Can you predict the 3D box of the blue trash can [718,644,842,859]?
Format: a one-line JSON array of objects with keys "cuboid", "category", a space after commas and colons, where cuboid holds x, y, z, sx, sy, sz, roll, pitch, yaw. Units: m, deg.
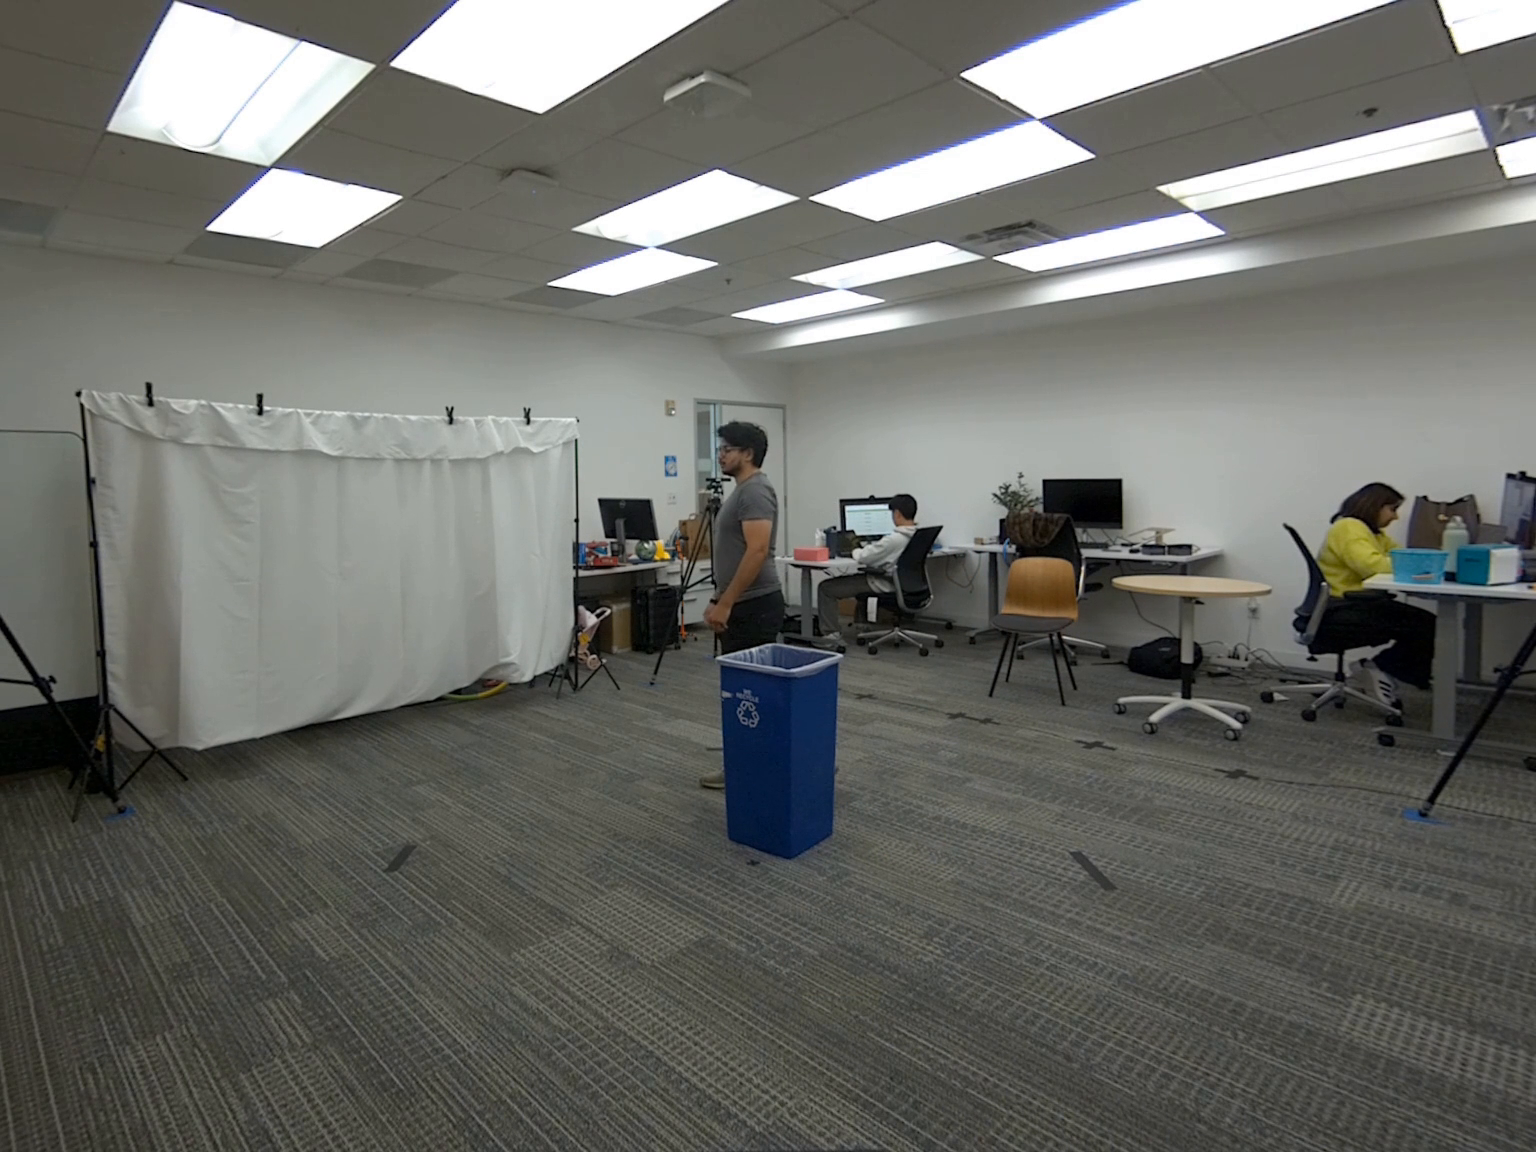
[{"cuboid": [0.056, 0.661, 3.303, 0.385, 0.711, 0.368, 3, 6, 38], "category": "blue trash can"}]
